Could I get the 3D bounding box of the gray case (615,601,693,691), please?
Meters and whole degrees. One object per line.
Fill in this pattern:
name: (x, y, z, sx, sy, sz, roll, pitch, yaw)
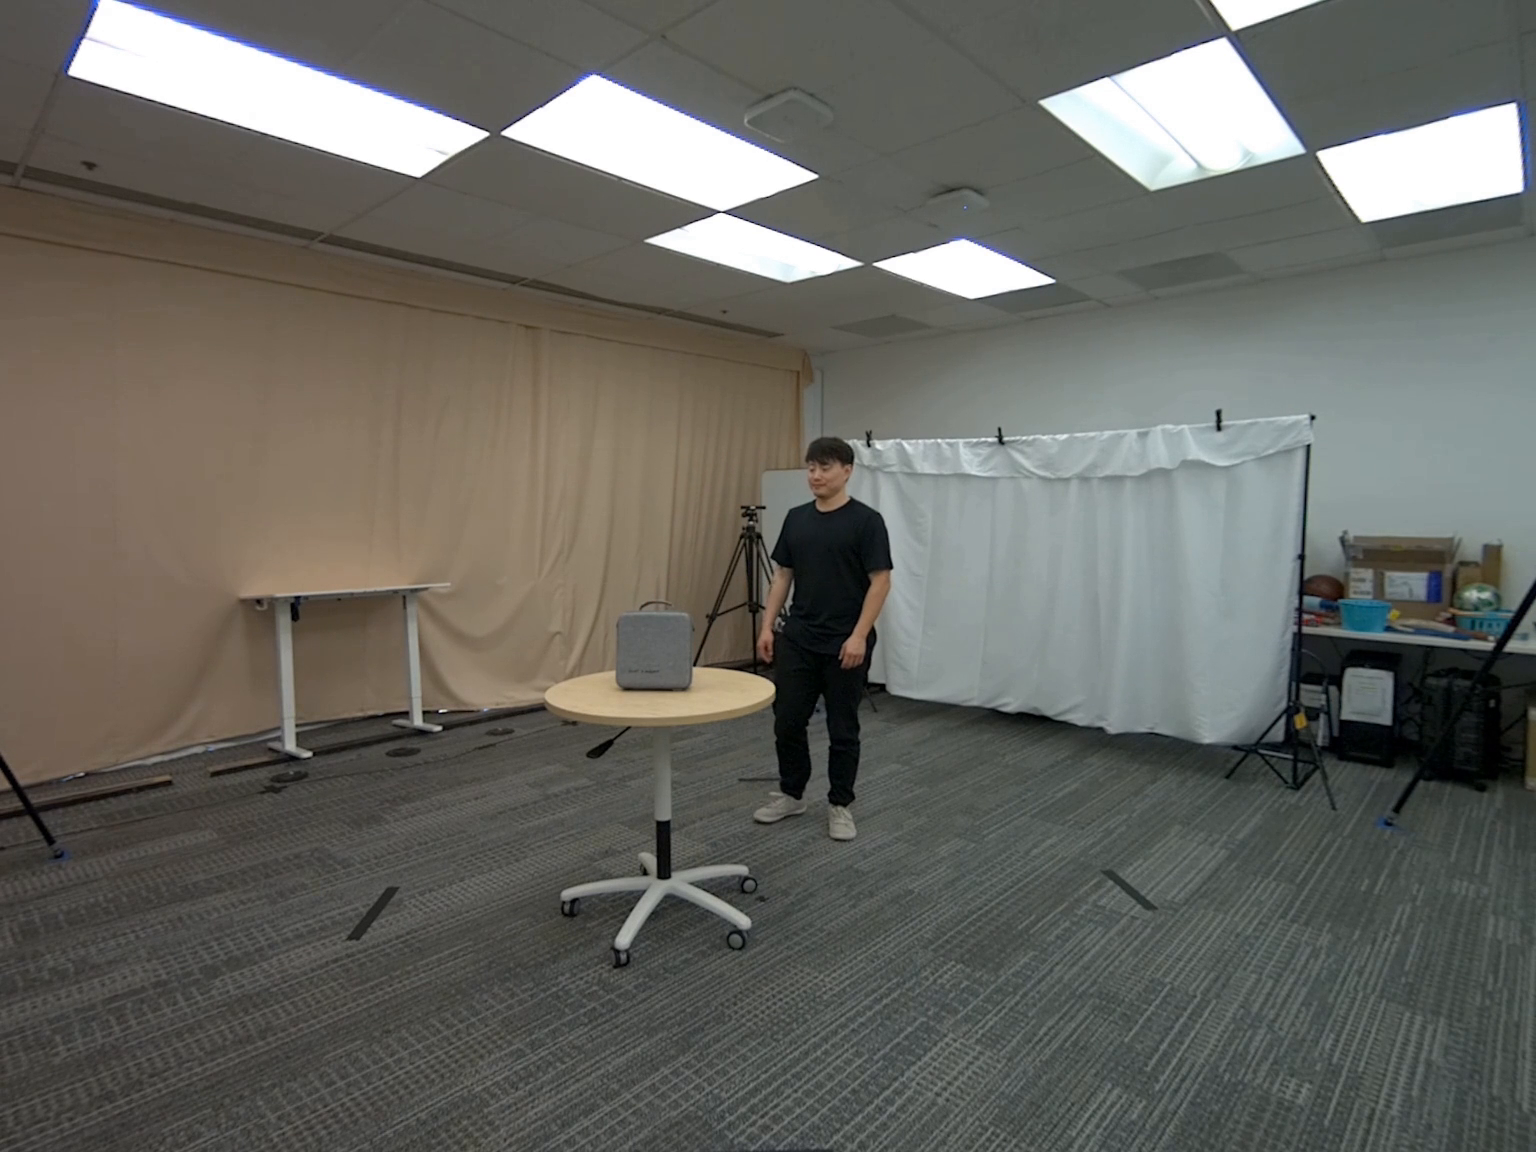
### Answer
gray case: (-0.378, 0.244, 2.827, 0.258, 0.262, 0.103, 1, -7, 5)
